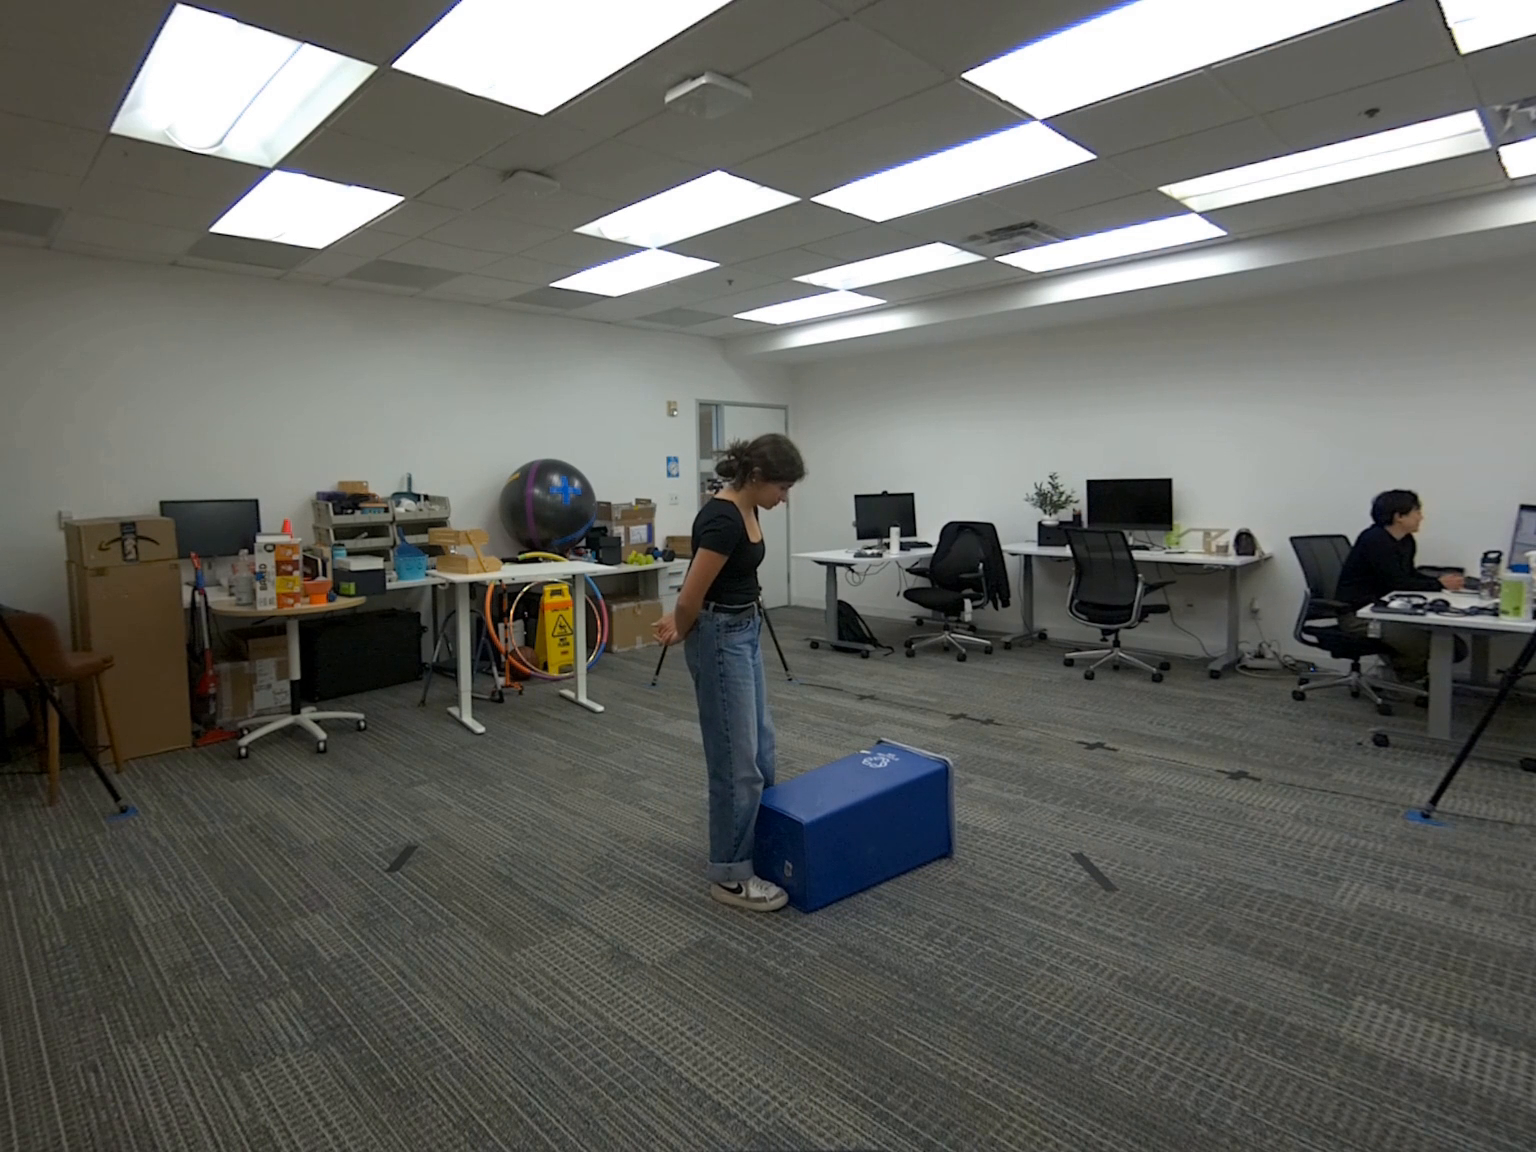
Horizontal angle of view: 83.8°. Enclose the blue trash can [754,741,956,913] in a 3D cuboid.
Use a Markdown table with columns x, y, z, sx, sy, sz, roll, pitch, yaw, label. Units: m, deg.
| x | y | z | sx | sy | sz | roll | pitch | yaw | label |
| --- | --- | --- | --- | --- | --- | --- | --- | --- | --- |
| 0.300 | 0.878 | 3.045 | 0.696 | 0.376 | 0.385 | -9 | 9 | -38 | blue trash can |
